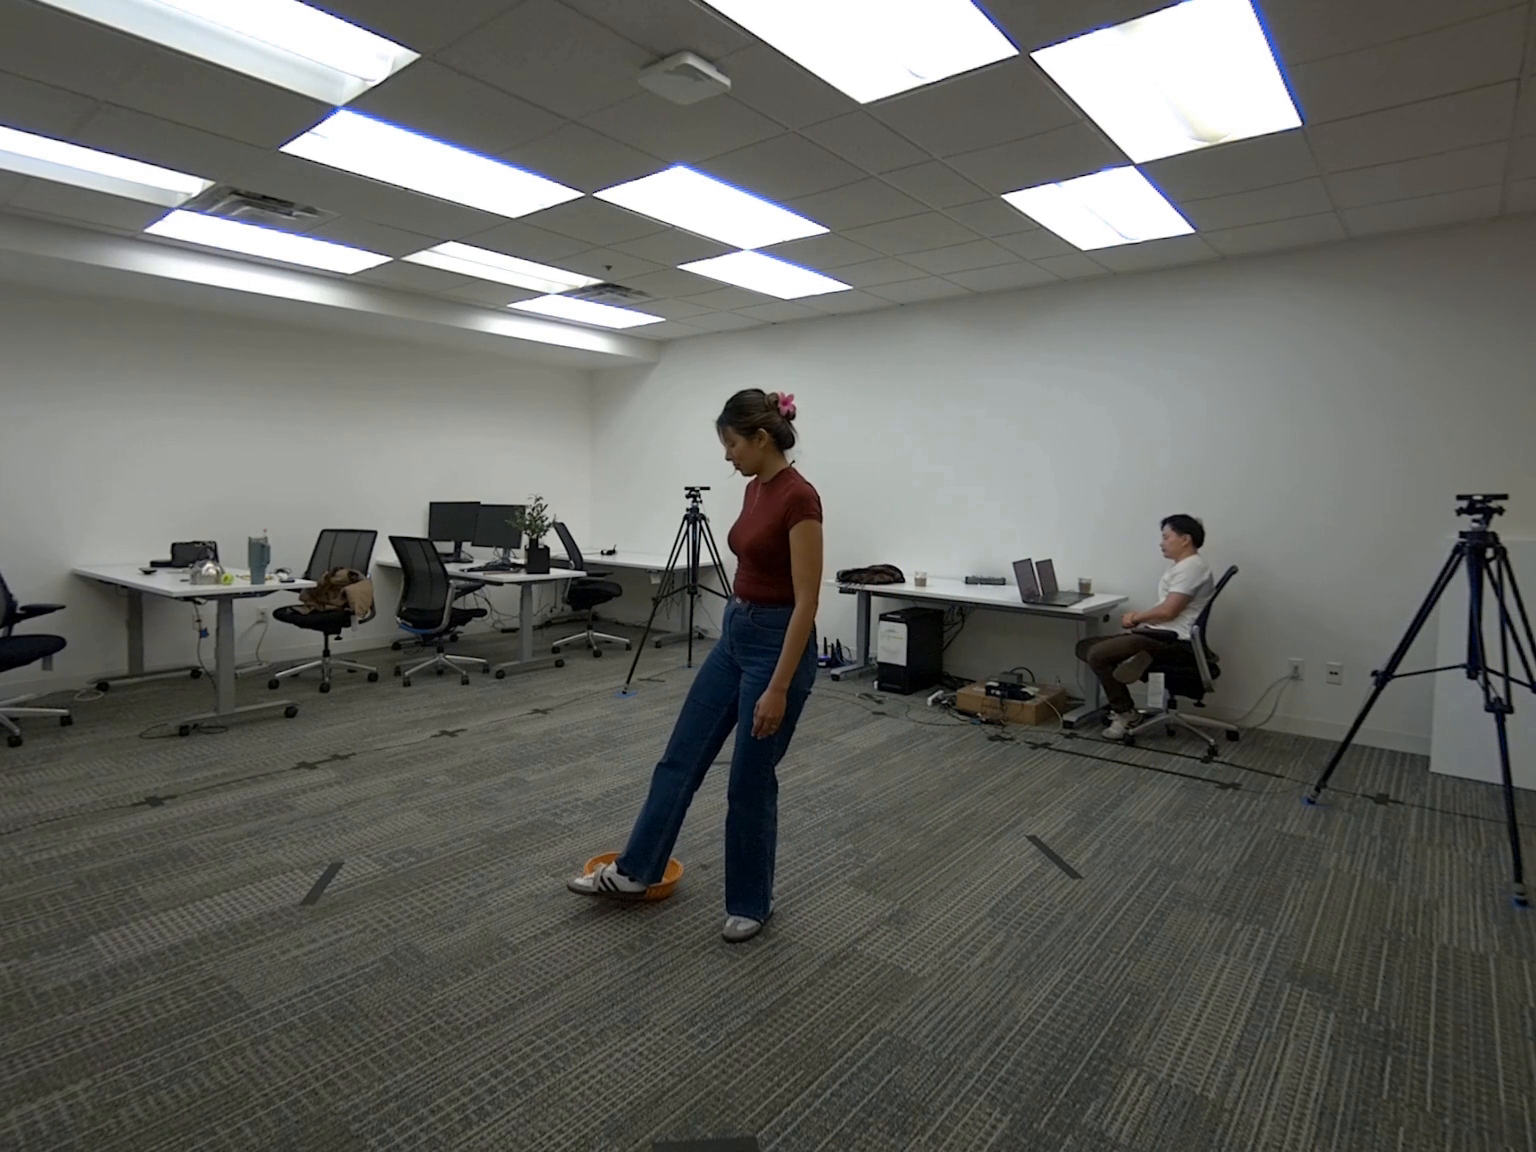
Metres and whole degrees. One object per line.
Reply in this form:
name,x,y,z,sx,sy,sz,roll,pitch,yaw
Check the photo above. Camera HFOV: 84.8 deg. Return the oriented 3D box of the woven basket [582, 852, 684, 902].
woven basket,-0.469,1.033,2.935,0.355,0.073,0.250,2,5,11
